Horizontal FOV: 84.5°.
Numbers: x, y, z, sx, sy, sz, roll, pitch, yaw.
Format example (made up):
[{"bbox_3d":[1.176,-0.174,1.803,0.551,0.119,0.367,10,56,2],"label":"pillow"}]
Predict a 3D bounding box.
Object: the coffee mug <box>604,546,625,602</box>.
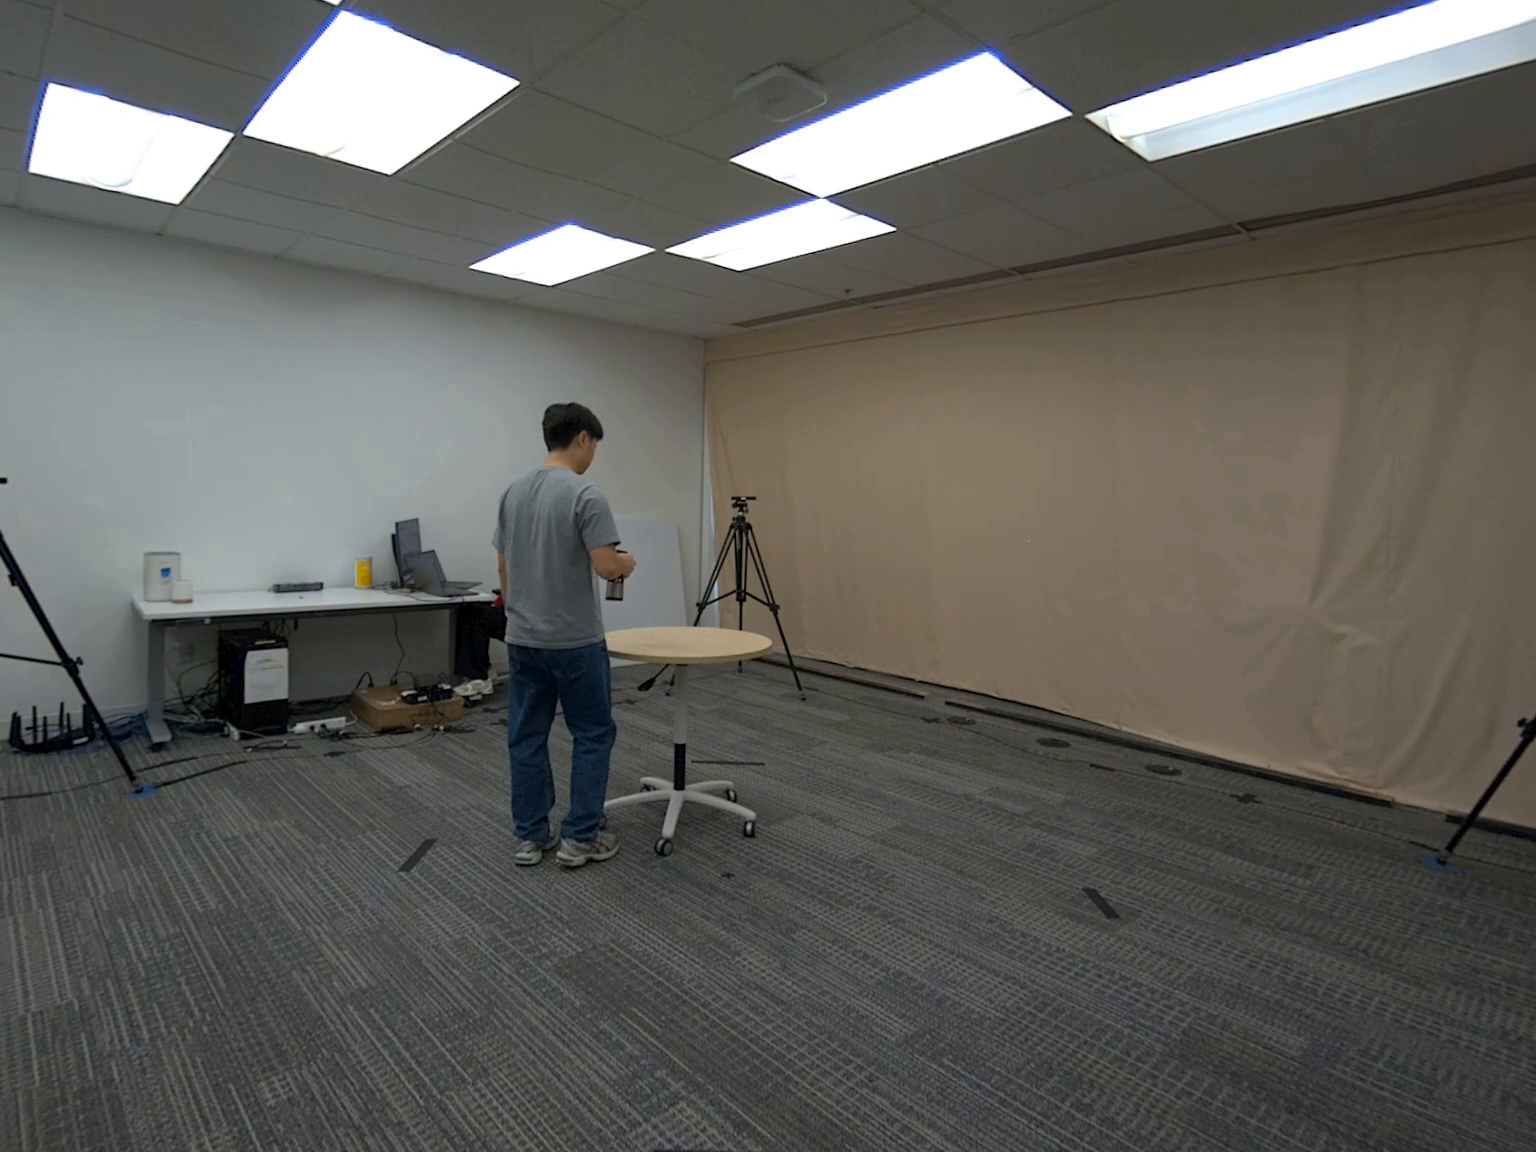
[{"bbox_3d":[-0.628,0.002,3.398,0.088,0.204,0.121,4,-9,3],"label":"coffee mug"}]
